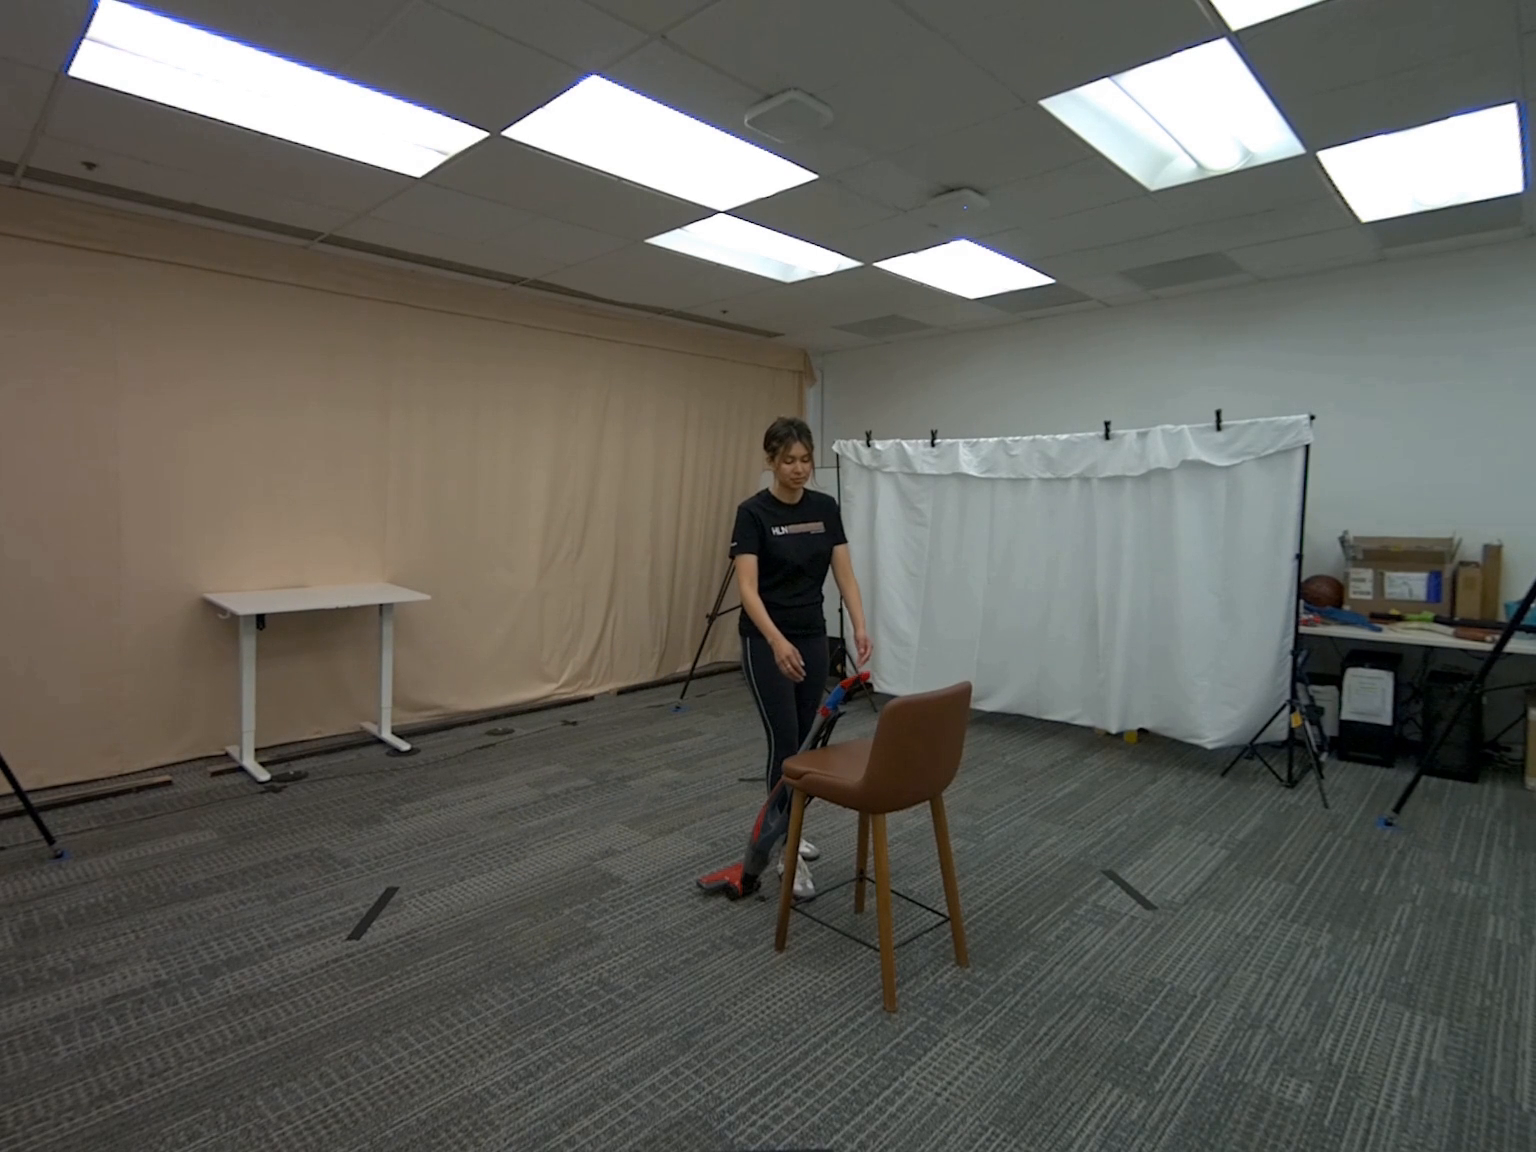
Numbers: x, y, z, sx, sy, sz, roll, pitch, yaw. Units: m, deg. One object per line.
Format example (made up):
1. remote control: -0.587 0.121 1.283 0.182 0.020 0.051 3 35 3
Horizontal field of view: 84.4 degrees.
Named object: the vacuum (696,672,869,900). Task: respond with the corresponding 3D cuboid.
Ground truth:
1. vacuum: 0.077 0.716 2.810 0.245 1.047 0.148 -7 44 -47
